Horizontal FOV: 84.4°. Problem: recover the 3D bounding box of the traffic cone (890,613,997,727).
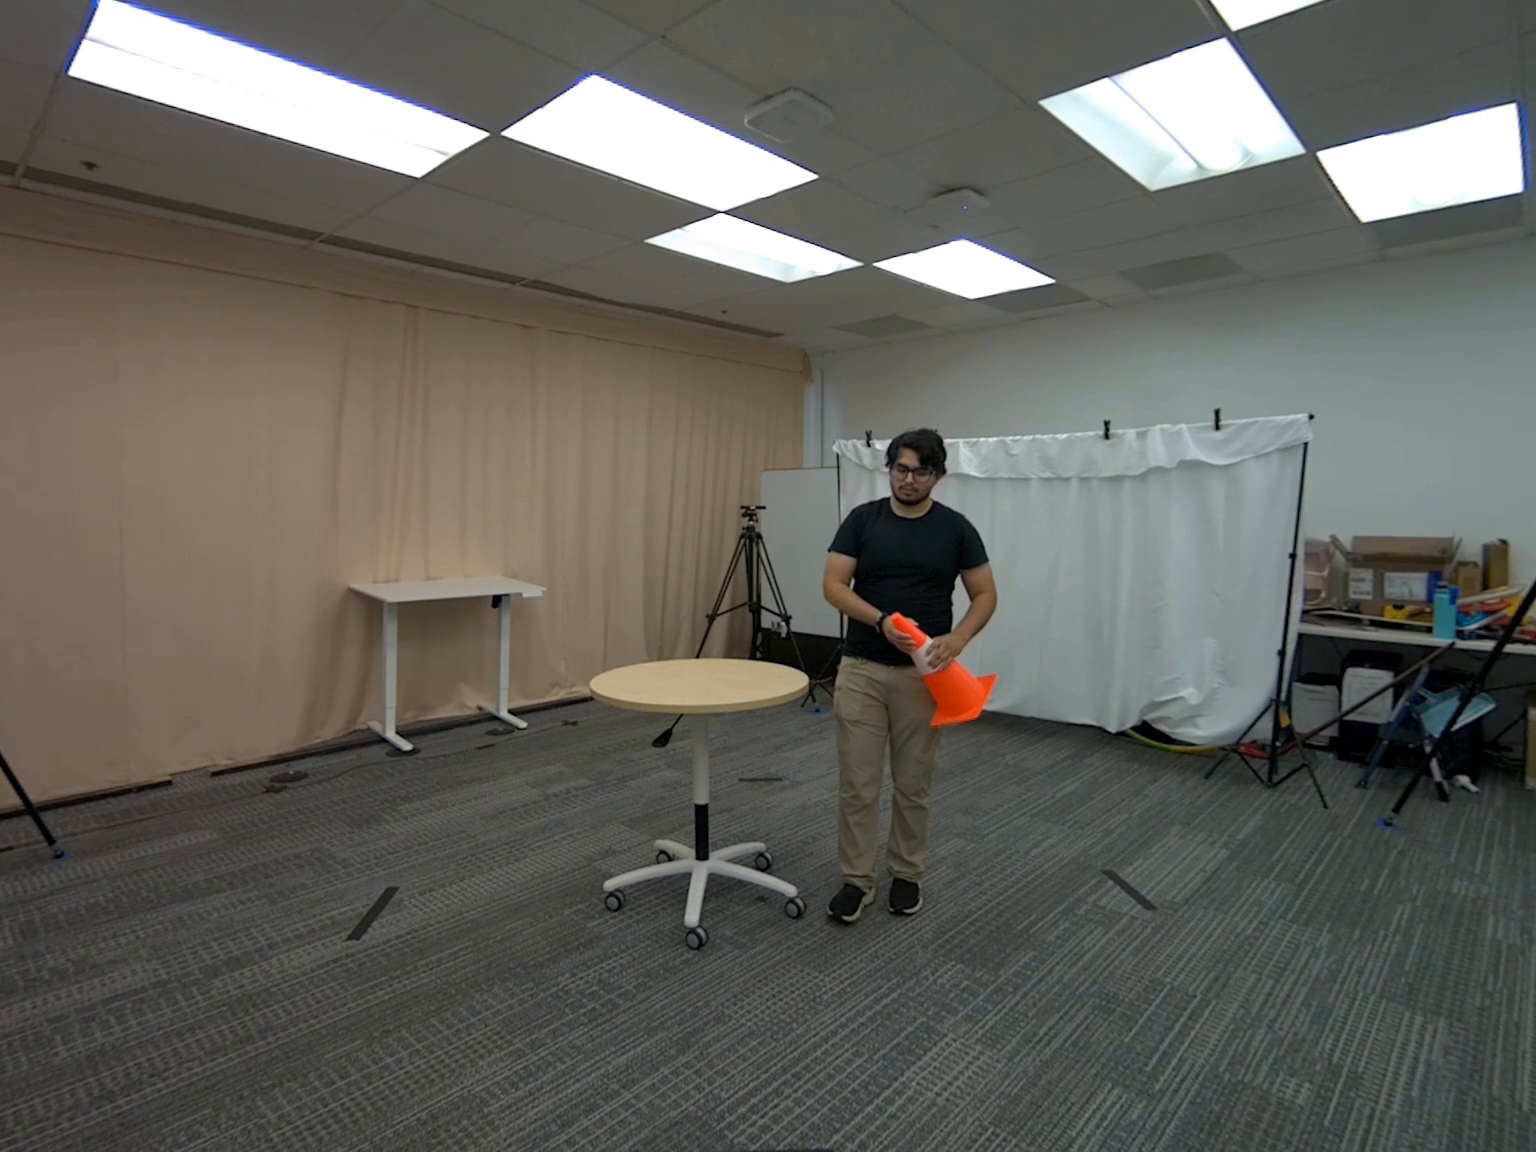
[{"bbox_3d":[0.520,0.264,2.684,0.207,0.378,0.204,-27,19,49],"label":"traffic cone"}]
